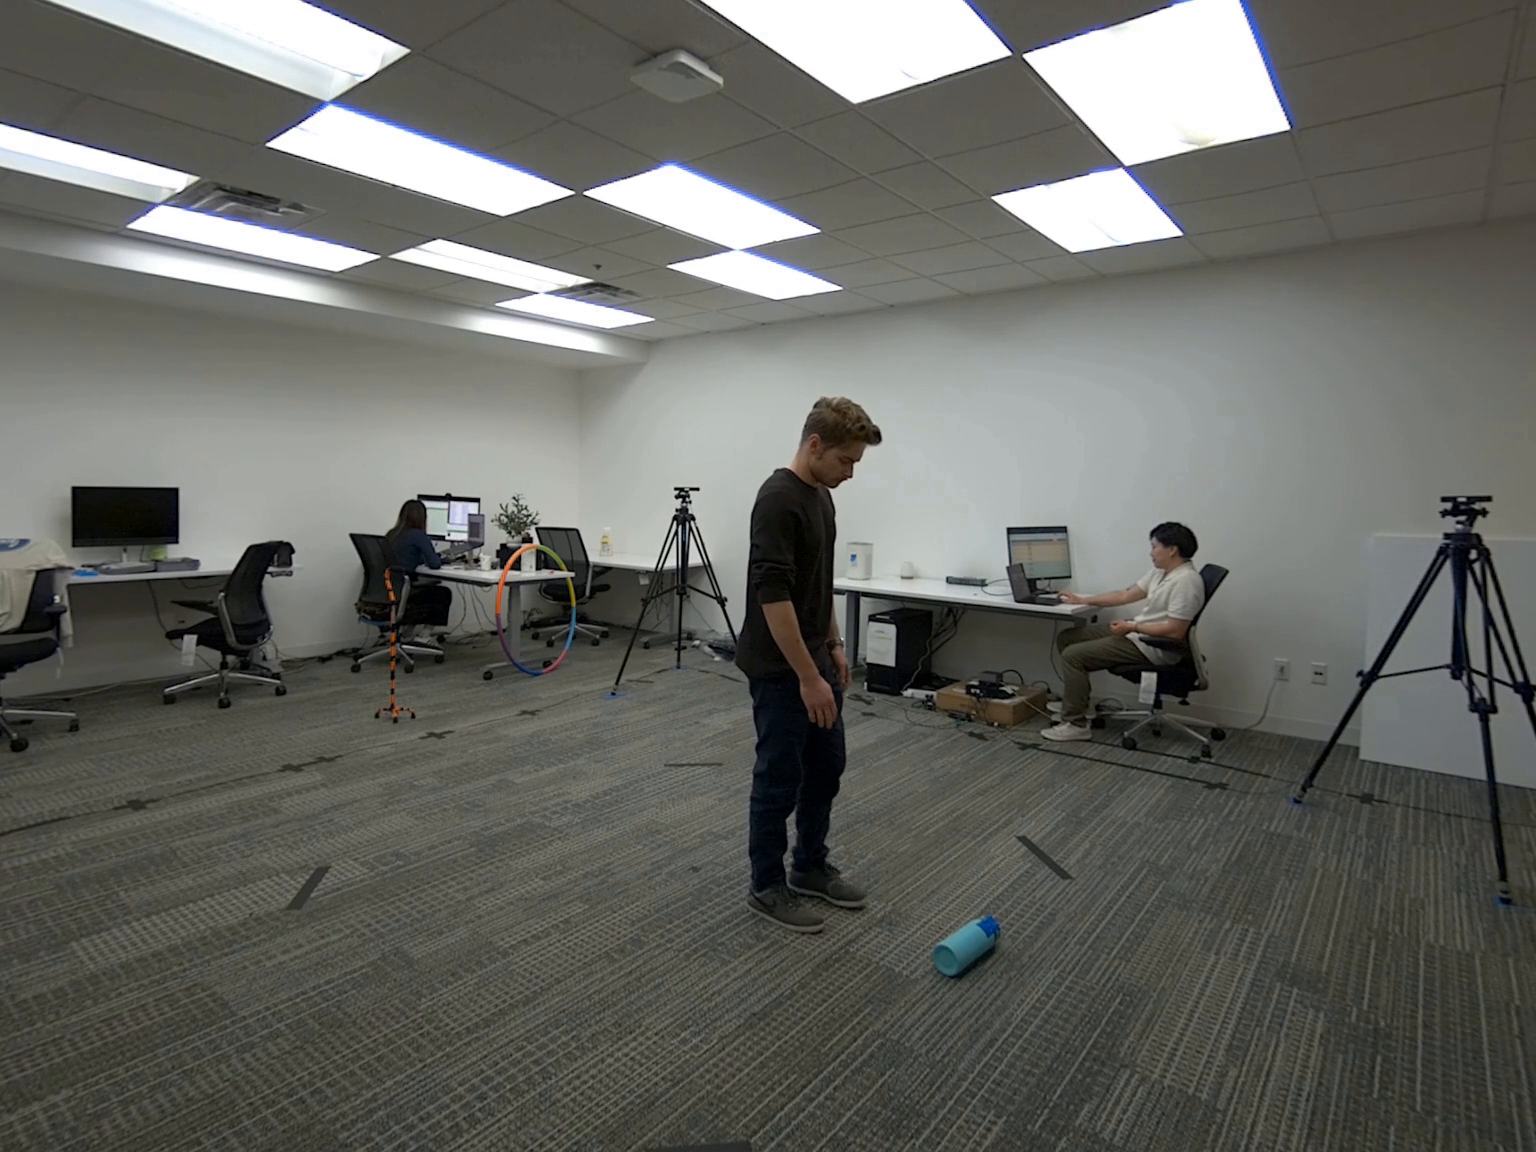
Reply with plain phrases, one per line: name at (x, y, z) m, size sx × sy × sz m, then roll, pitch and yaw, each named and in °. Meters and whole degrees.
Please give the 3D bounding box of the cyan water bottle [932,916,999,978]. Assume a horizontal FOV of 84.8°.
cyan water bottle at (0.598, 1.092, 2.546) m, size 0.095 × 0.092 × 0.275 m, roll 5°, pitch 6°, yaw 44°
